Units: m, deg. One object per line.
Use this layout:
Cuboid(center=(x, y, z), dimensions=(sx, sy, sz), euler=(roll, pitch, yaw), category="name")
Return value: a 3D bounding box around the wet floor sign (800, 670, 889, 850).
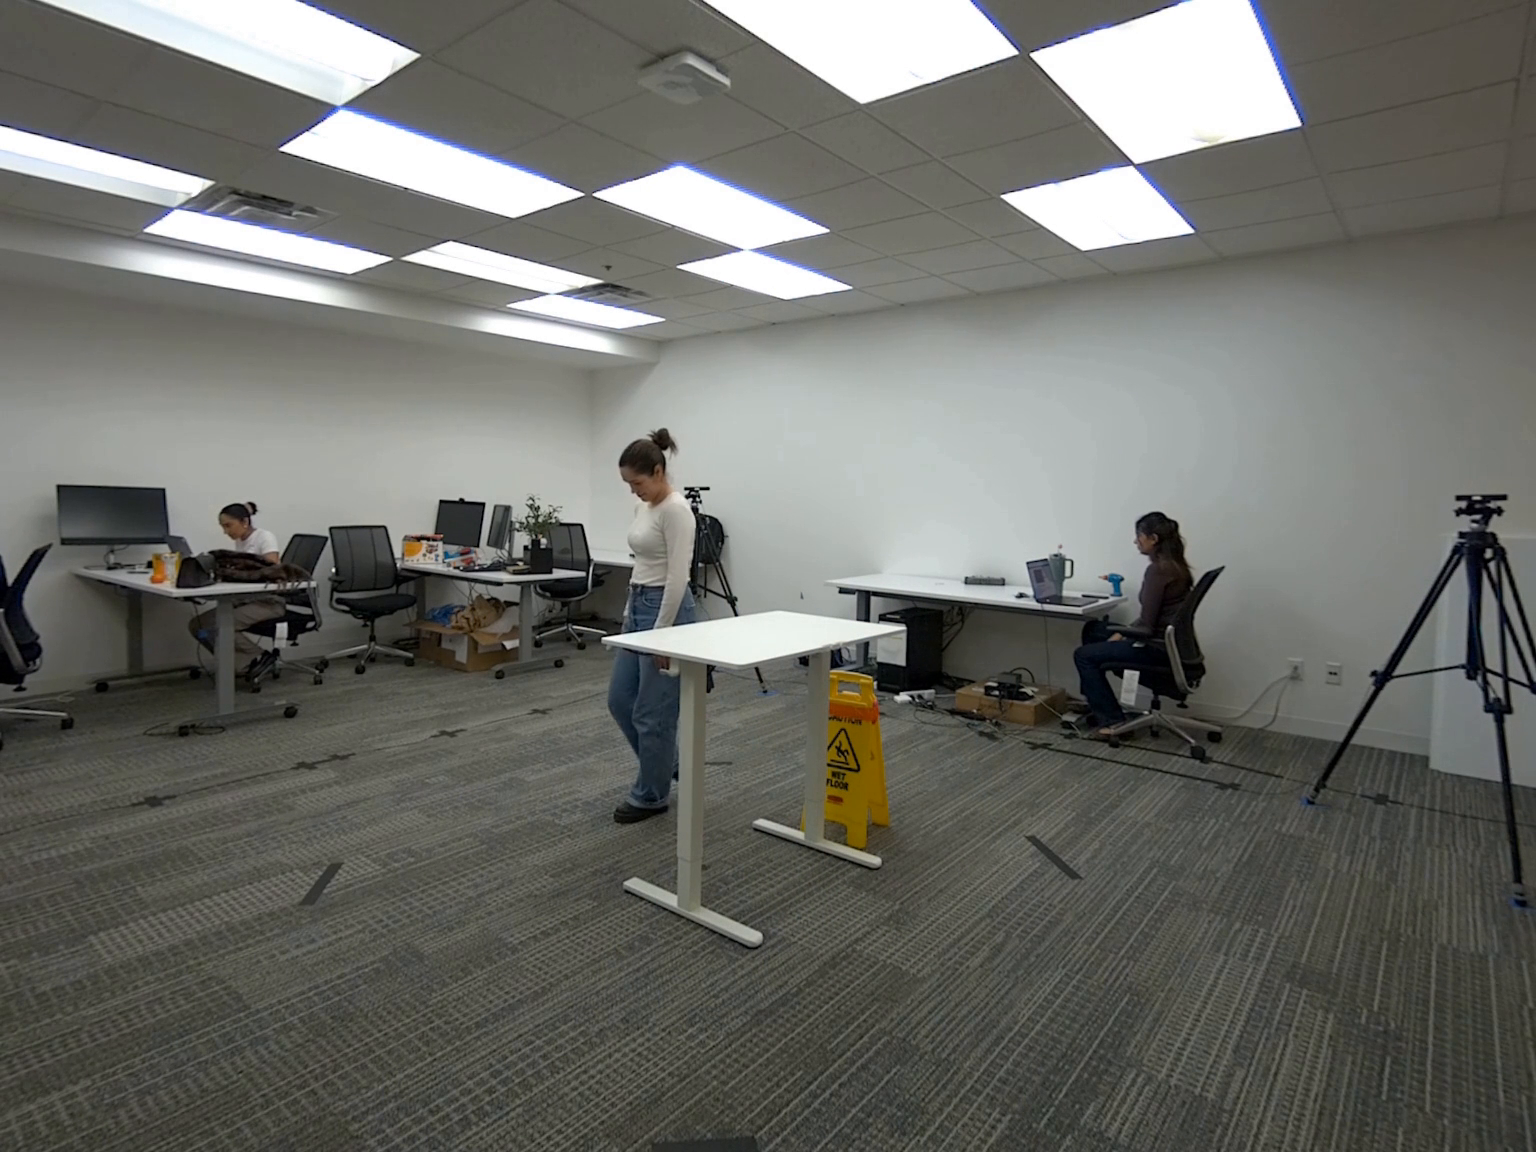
Cuboid(center=(0.324, 0.716, 3.477), dimensions=(0.291, 0.644, 0.282), euler=(4, 3, 30), category="wet floor sign")
